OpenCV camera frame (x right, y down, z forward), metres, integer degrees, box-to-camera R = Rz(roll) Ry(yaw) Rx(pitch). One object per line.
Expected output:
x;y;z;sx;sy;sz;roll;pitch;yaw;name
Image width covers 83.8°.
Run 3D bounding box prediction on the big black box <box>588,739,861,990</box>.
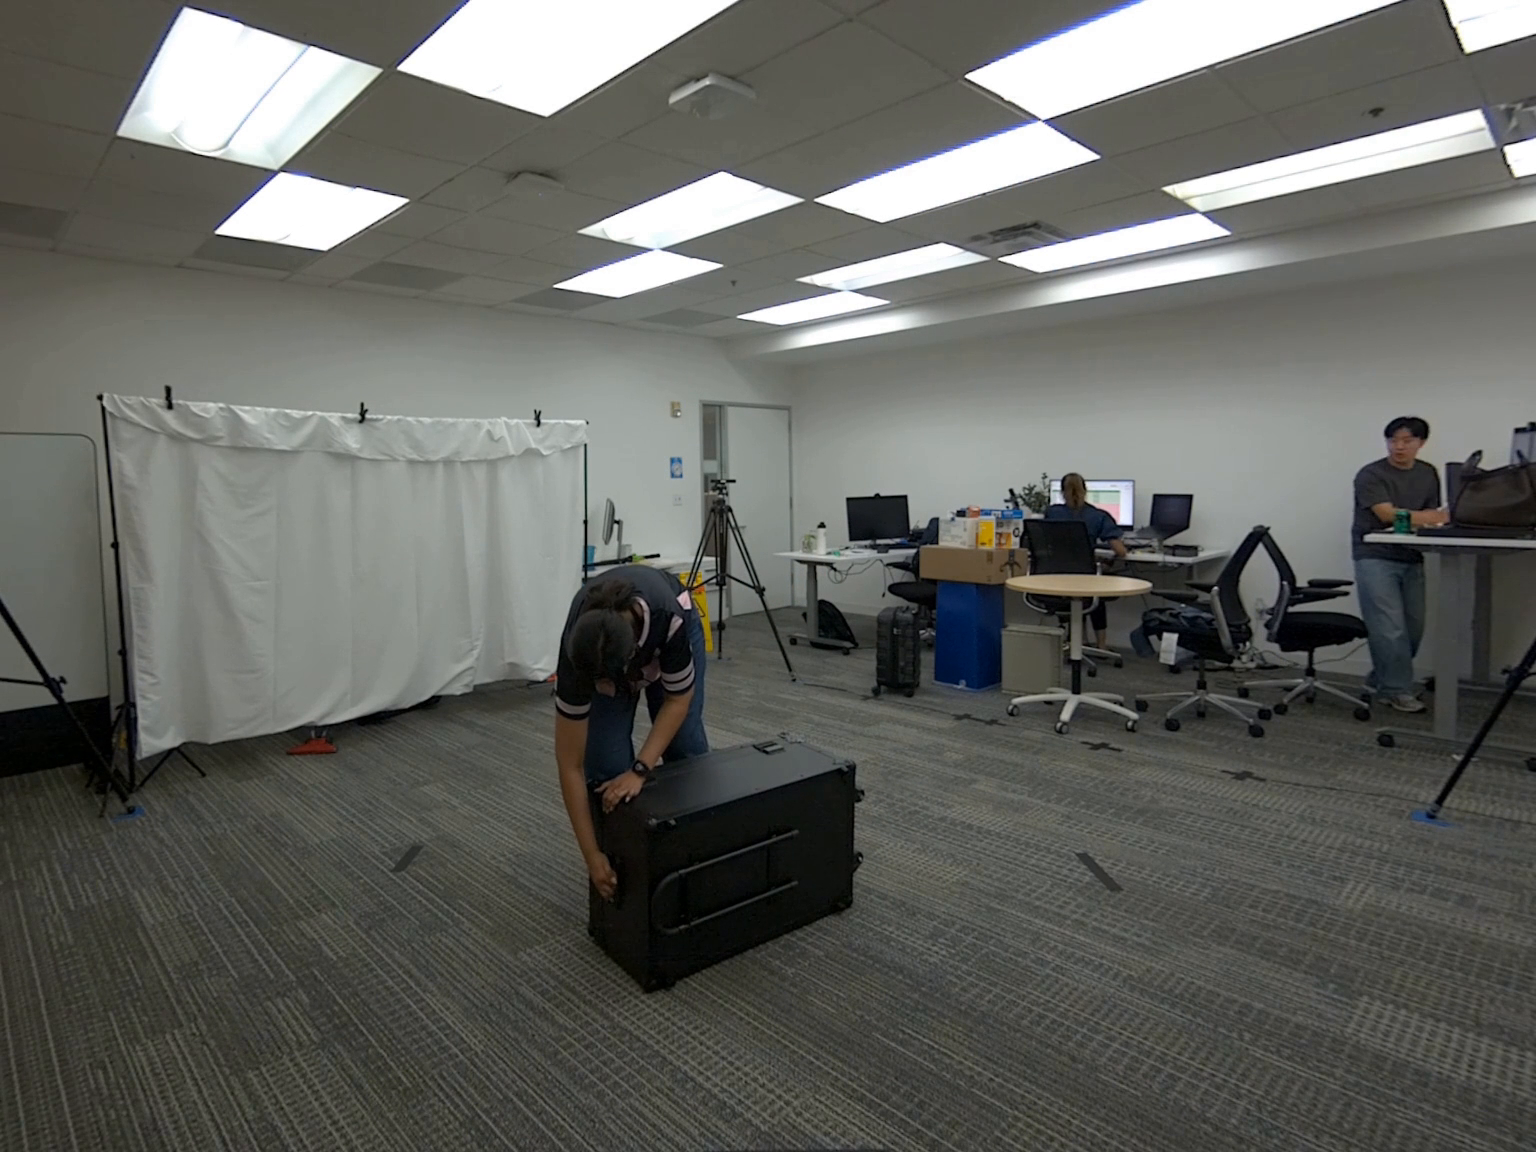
-0.100;0.836;2.691;0.846;0.521;0.397;-6;7;-38;big black box
